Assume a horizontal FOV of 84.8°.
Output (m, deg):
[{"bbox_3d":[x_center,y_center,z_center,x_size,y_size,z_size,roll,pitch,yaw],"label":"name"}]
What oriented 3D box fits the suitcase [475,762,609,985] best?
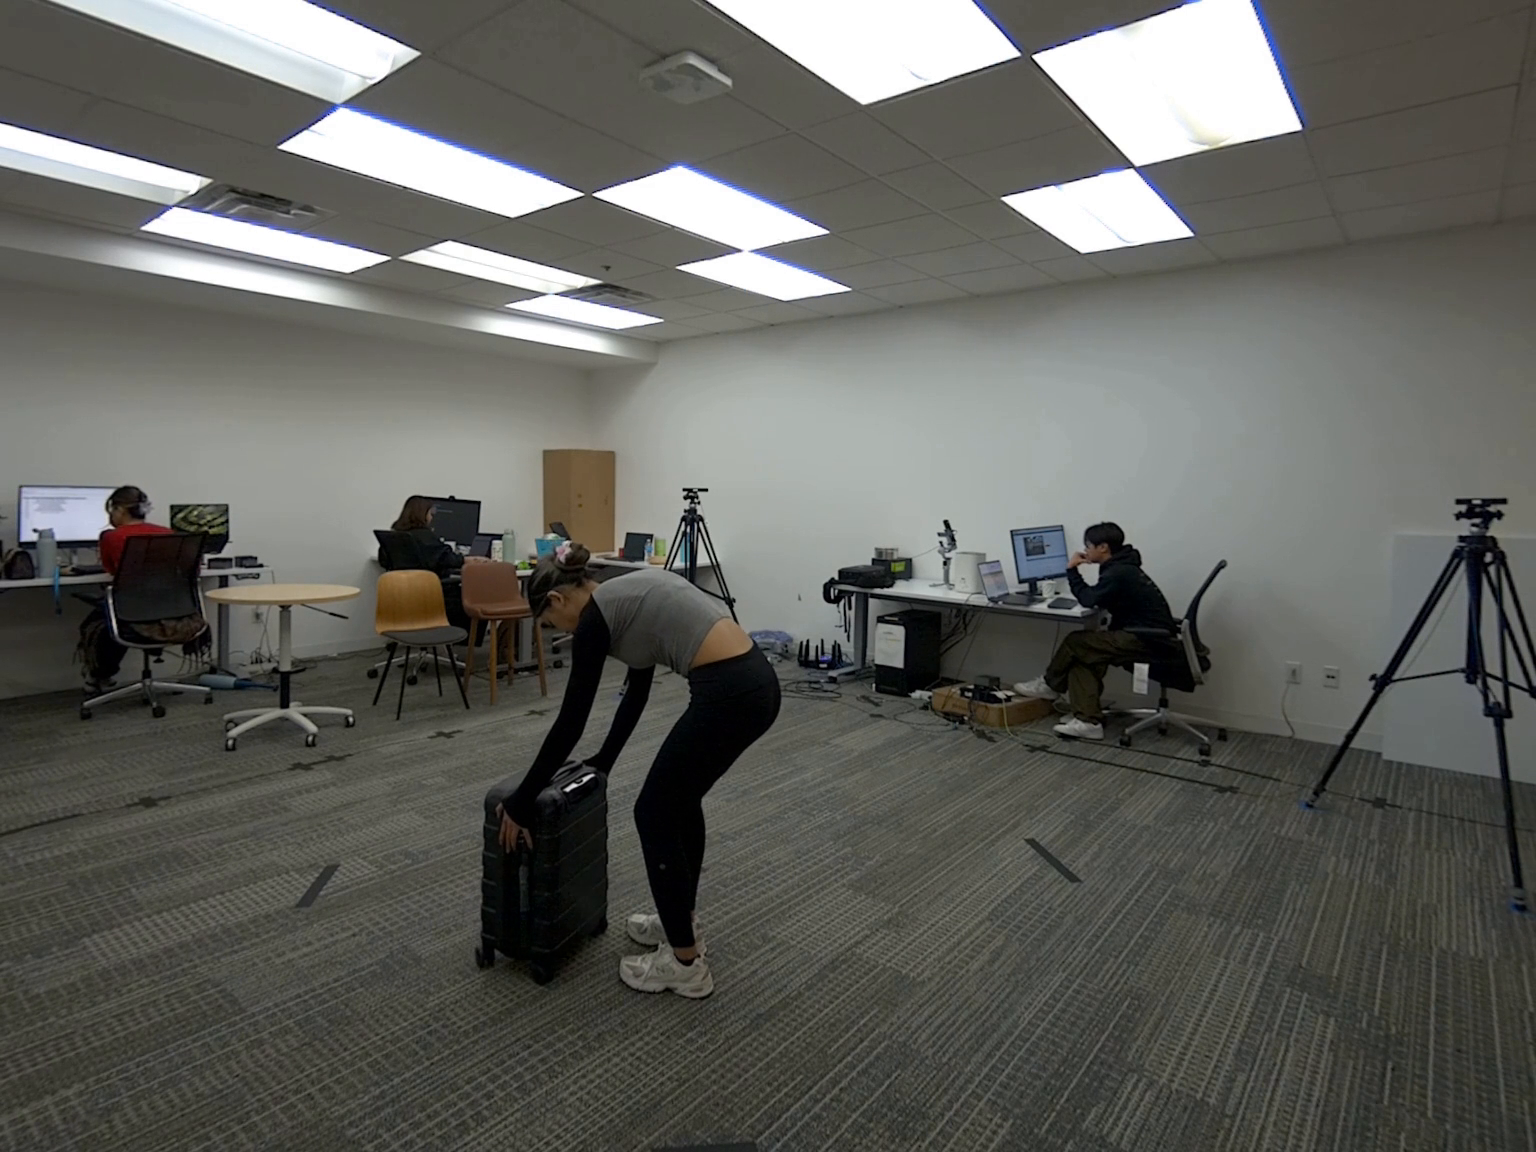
[{"bbox_3d":[-0.668,0.846,2.528,0.254,0.547,0.369,2,5,20],"label":"suitcase"}]
